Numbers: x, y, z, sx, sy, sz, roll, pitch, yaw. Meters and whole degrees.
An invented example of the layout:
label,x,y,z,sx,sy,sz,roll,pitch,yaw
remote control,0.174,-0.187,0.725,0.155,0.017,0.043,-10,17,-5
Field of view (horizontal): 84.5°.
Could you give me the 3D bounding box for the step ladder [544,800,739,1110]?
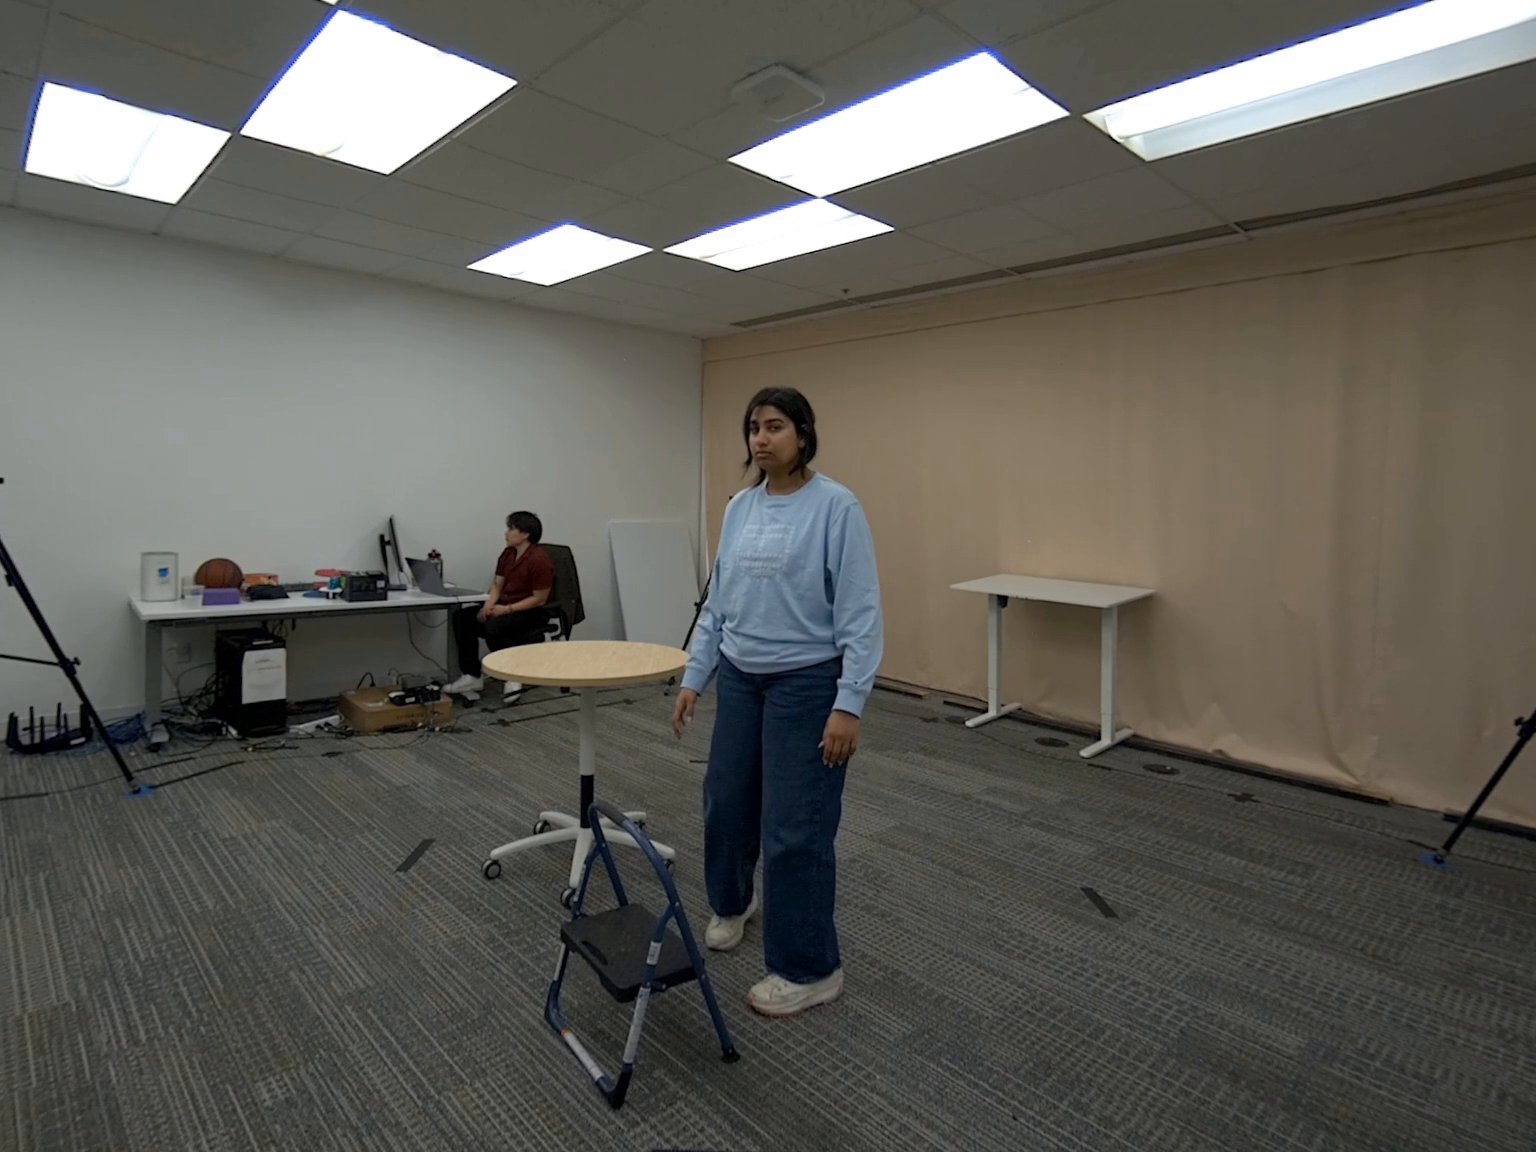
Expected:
label,x,y,z,sx,sy,sz,roll,pitch,yaw
step ladder,-0.336,0.890,2.140,0.341,0.604,0.441,-1,5,-37
